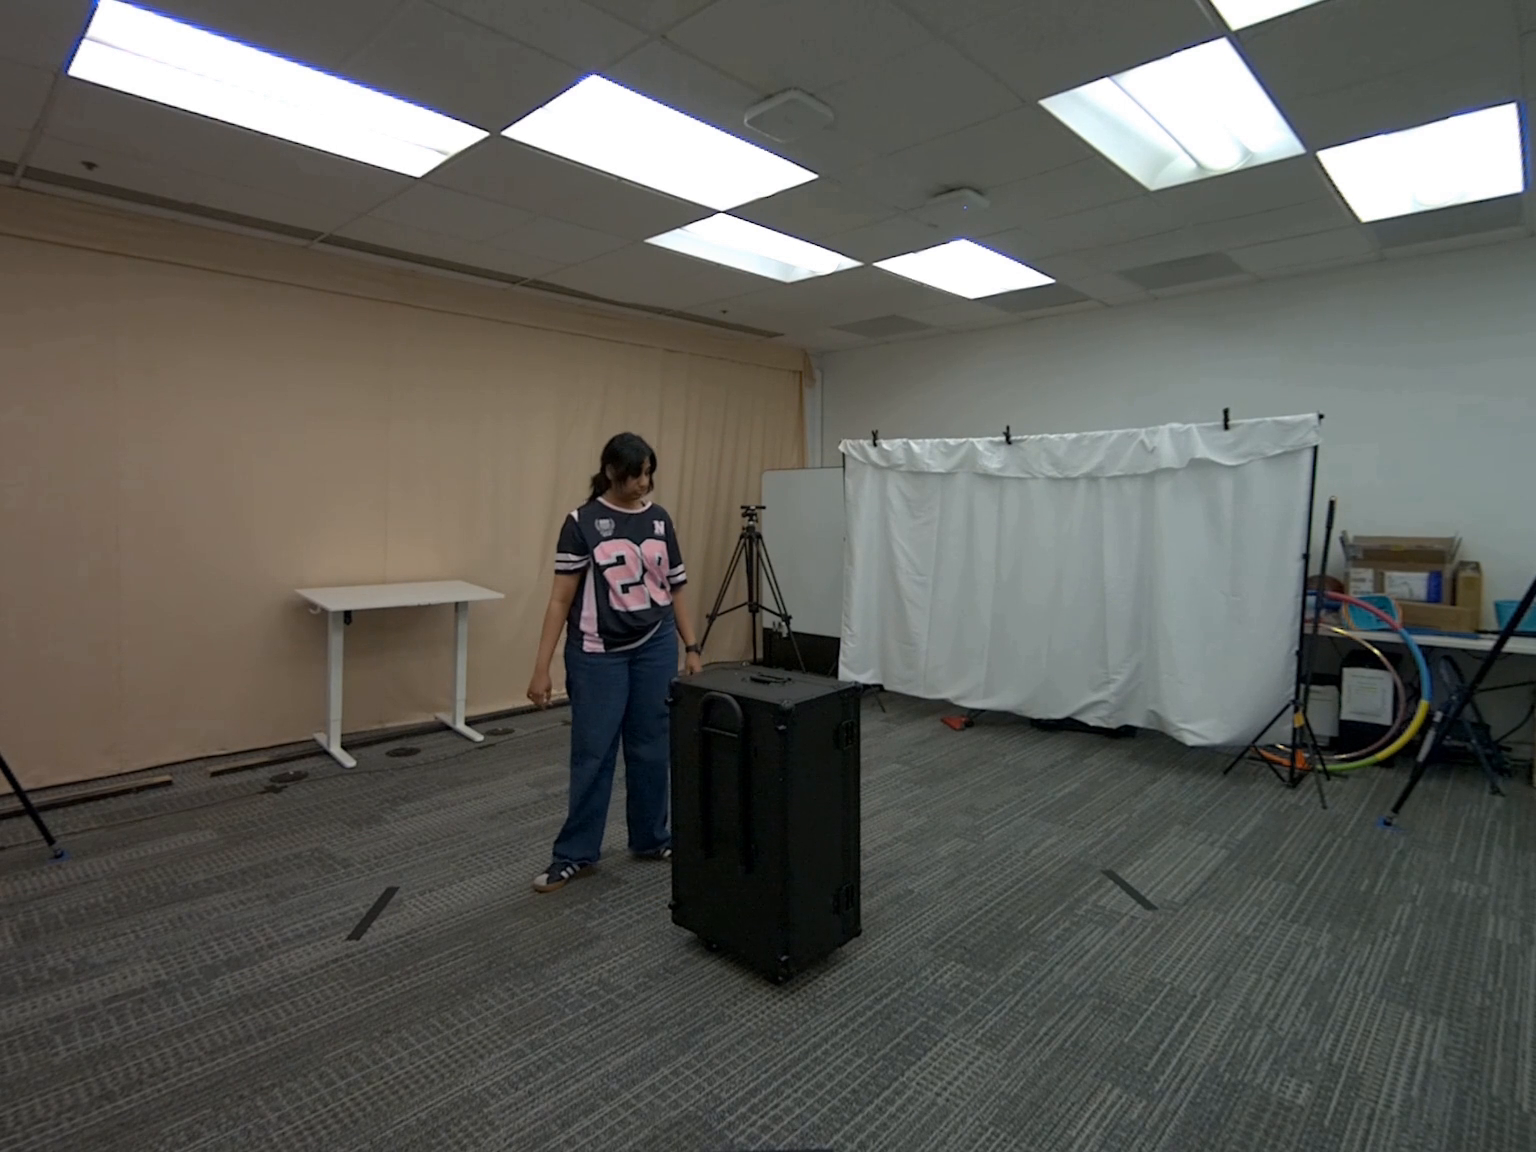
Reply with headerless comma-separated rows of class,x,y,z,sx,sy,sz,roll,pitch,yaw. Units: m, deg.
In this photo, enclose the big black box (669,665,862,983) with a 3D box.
big black box,-0.010,0.752,2.599,0.539,0.859,0.384,3,6,43
